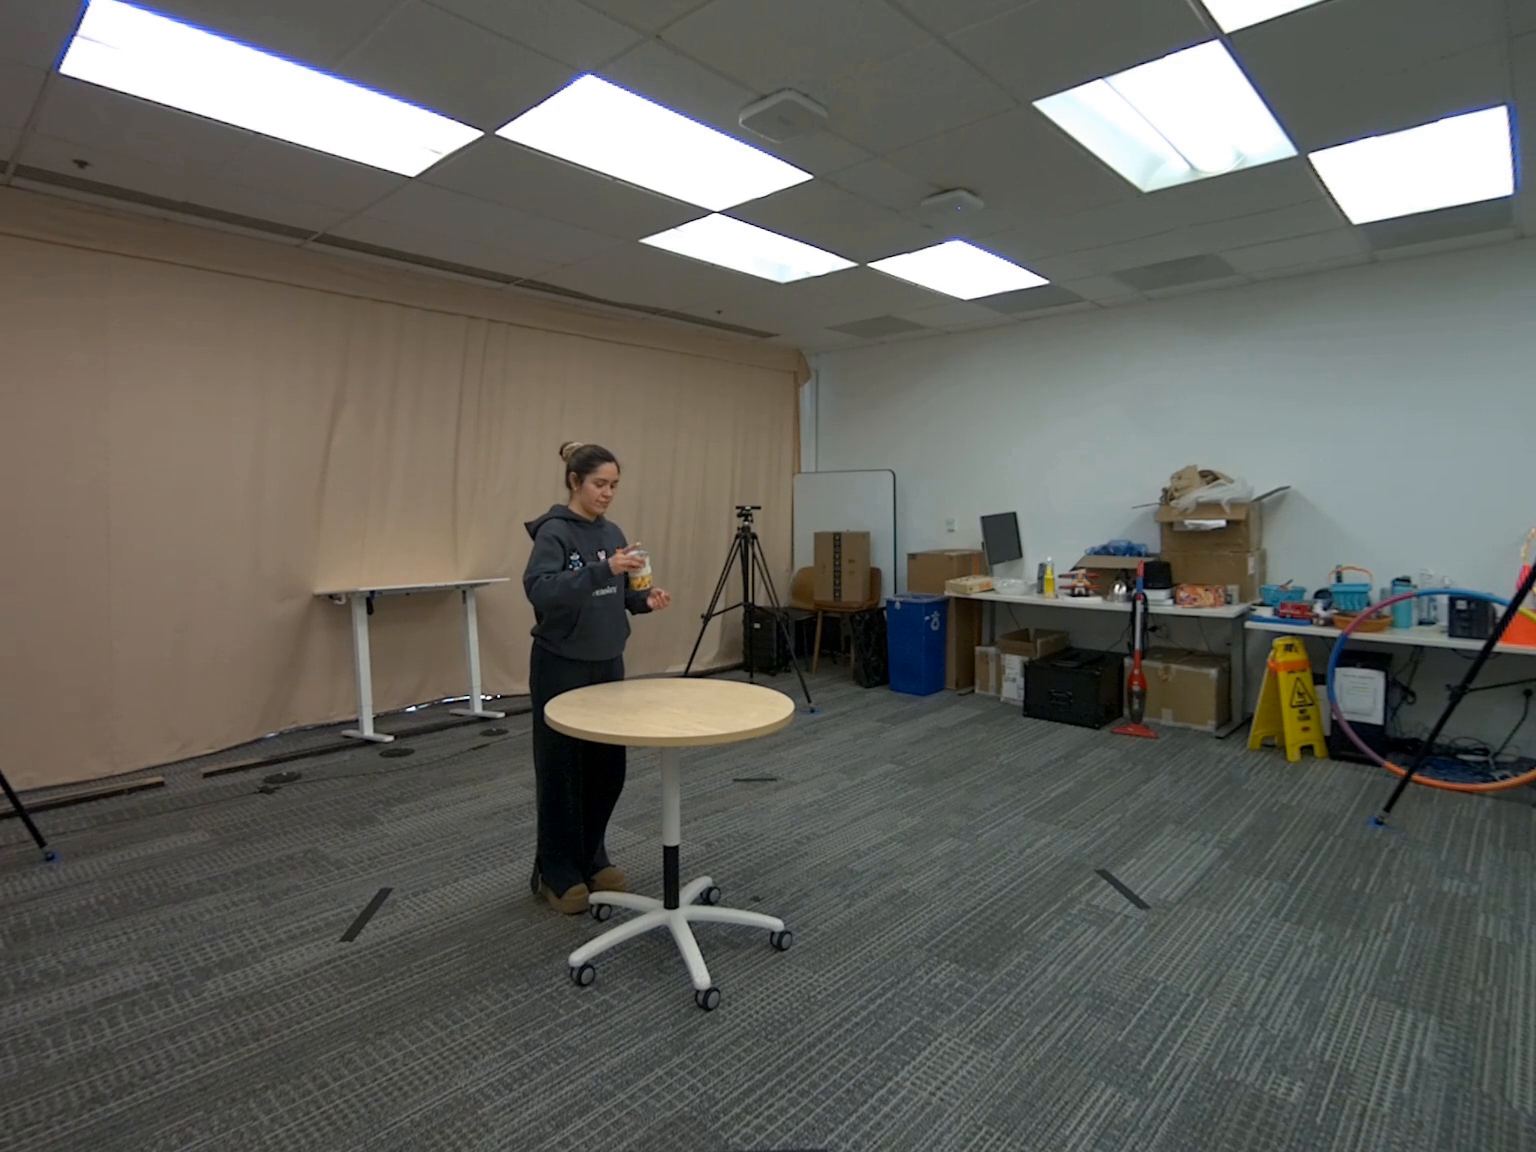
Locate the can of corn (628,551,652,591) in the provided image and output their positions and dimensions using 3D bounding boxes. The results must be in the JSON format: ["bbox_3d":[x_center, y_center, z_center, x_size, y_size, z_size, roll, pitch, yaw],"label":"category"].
[{"bbox_3d":[-0.414,0.002,2.682,0.074,0.110,0.074,-6,7,-1],"label":"can of corn"}]
